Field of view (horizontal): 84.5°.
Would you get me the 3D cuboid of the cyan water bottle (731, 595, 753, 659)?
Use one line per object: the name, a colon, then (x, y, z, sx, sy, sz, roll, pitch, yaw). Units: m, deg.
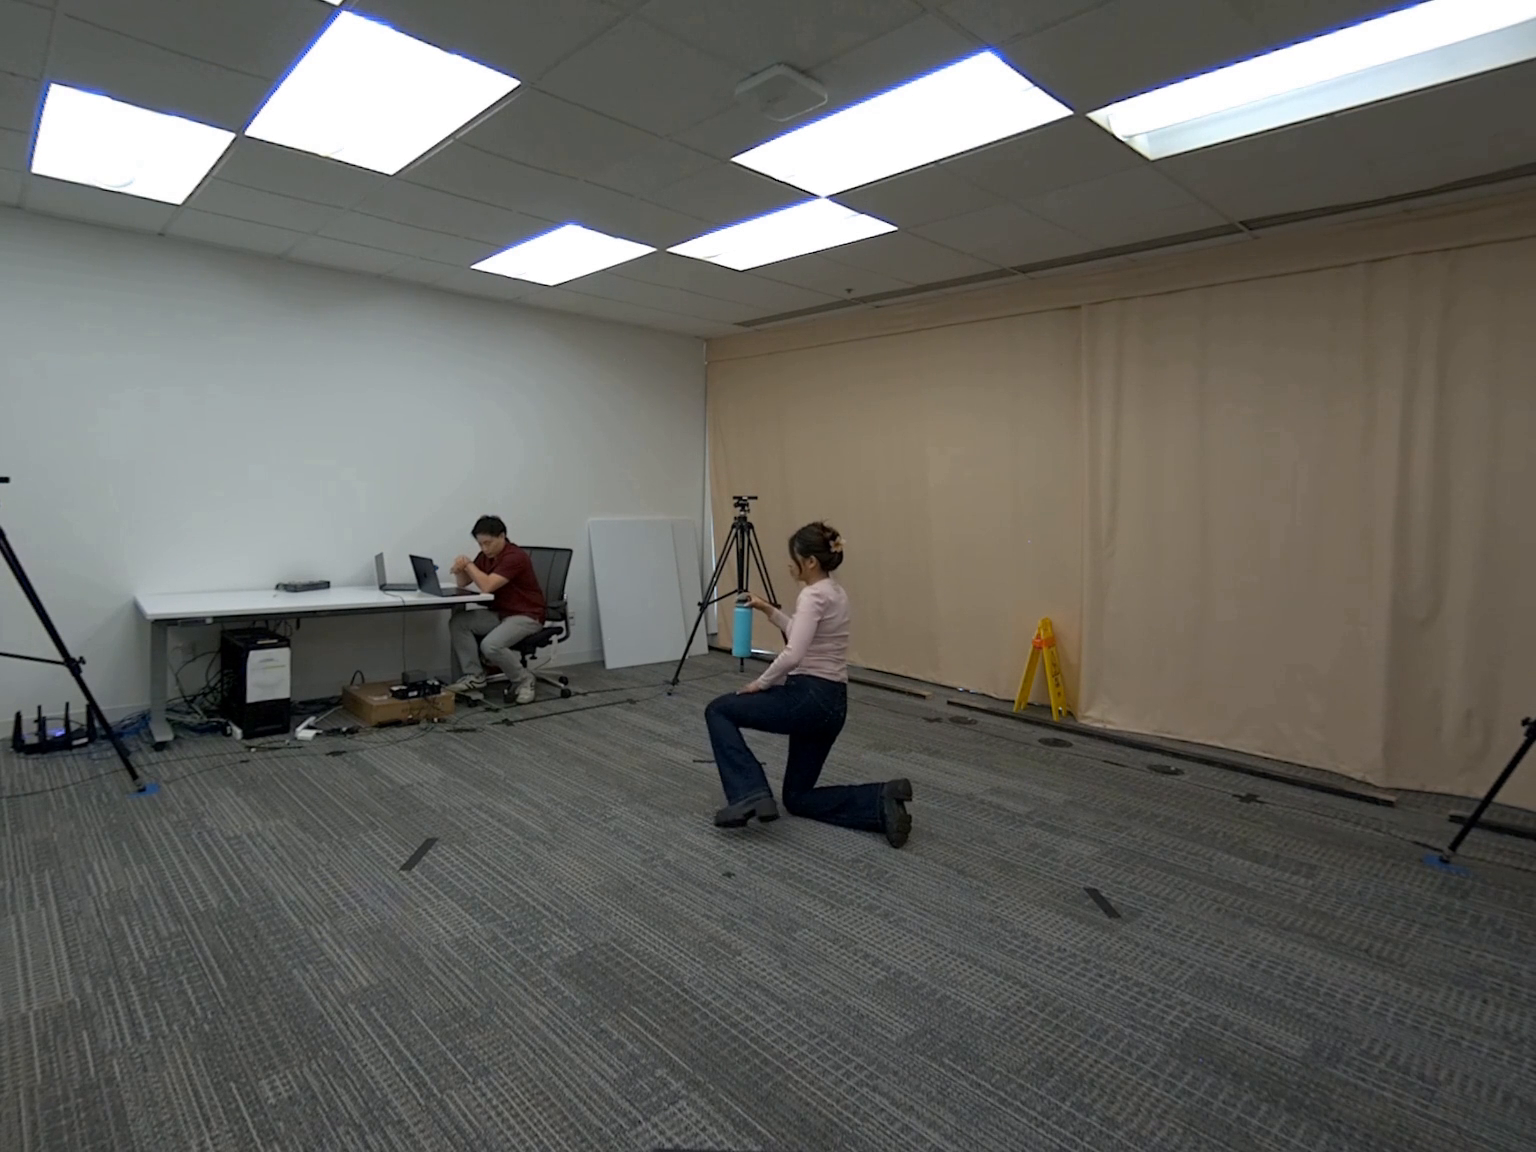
cyan water bottle: (-0.123, 0.231, 3.971, 0.092, 0.283, 0.092, 0, 3, -1)
